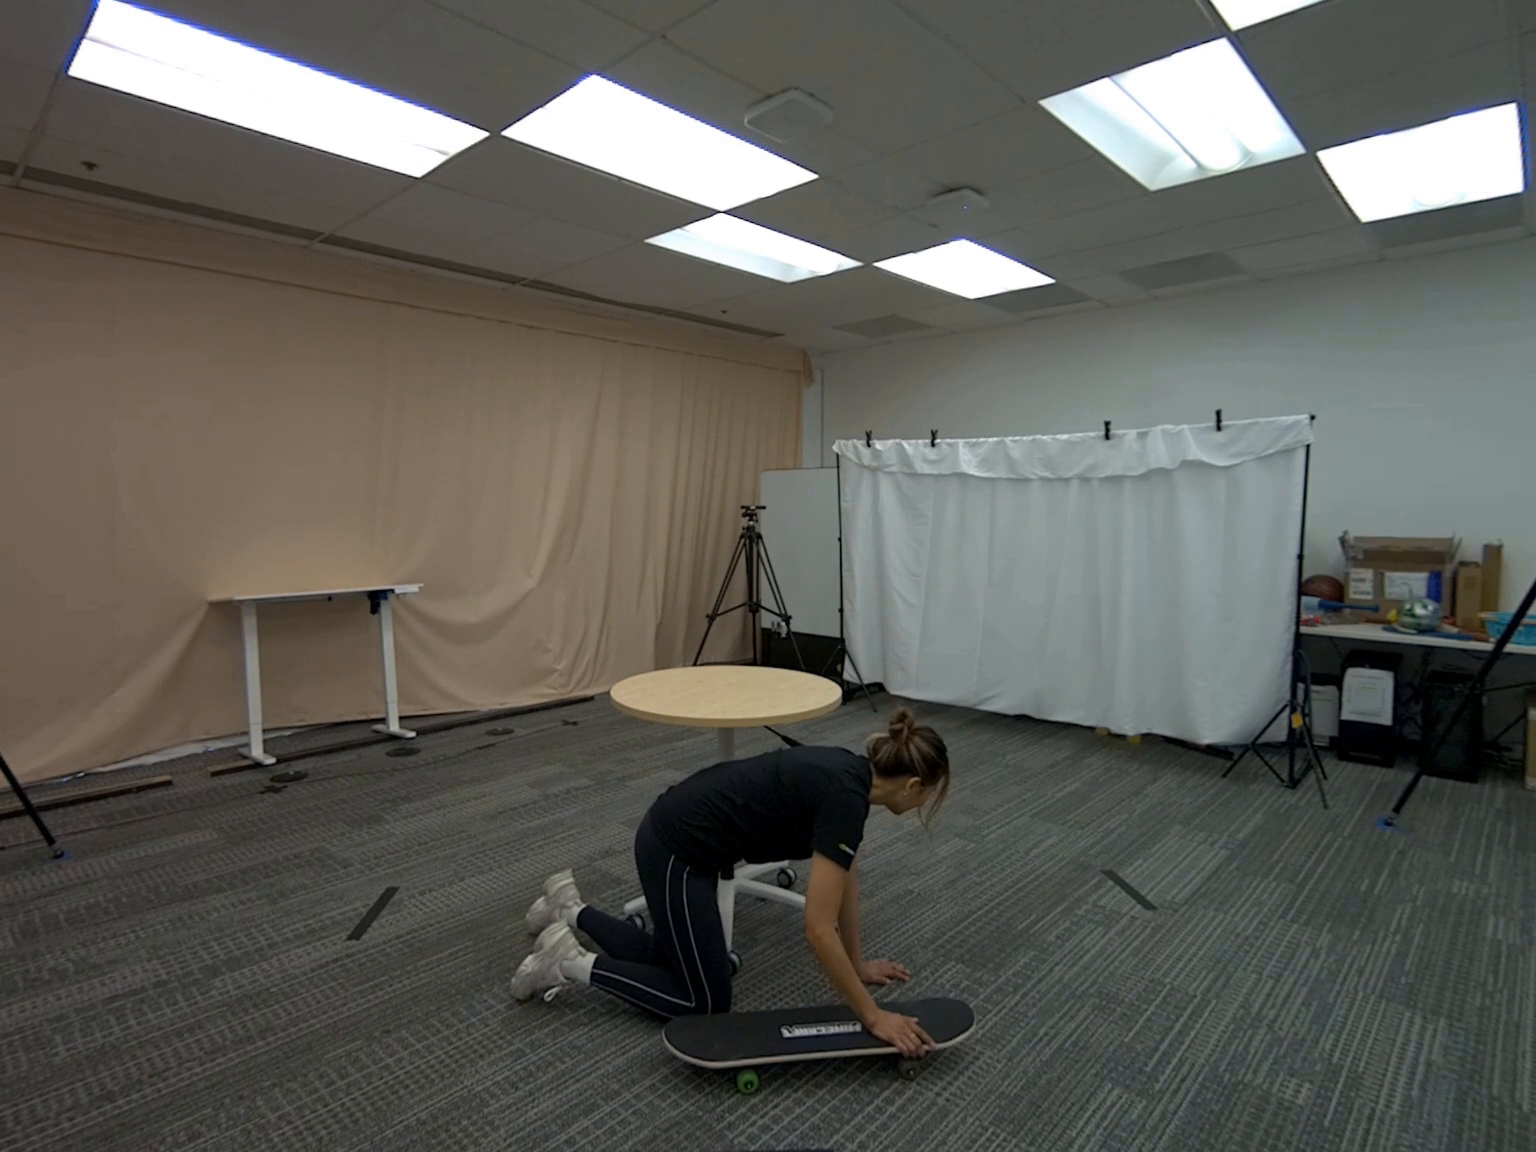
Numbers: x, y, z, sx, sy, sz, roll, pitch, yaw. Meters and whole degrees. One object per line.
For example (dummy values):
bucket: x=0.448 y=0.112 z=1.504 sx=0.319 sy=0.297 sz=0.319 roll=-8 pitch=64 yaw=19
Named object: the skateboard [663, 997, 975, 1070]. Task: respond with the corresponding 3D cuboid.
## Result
skateboard: x=0.143 y=1.162 z=2.095 sx=0.780 sy=0.110 sz=0.195 roll=-1 pitch=4 yaw=-7
